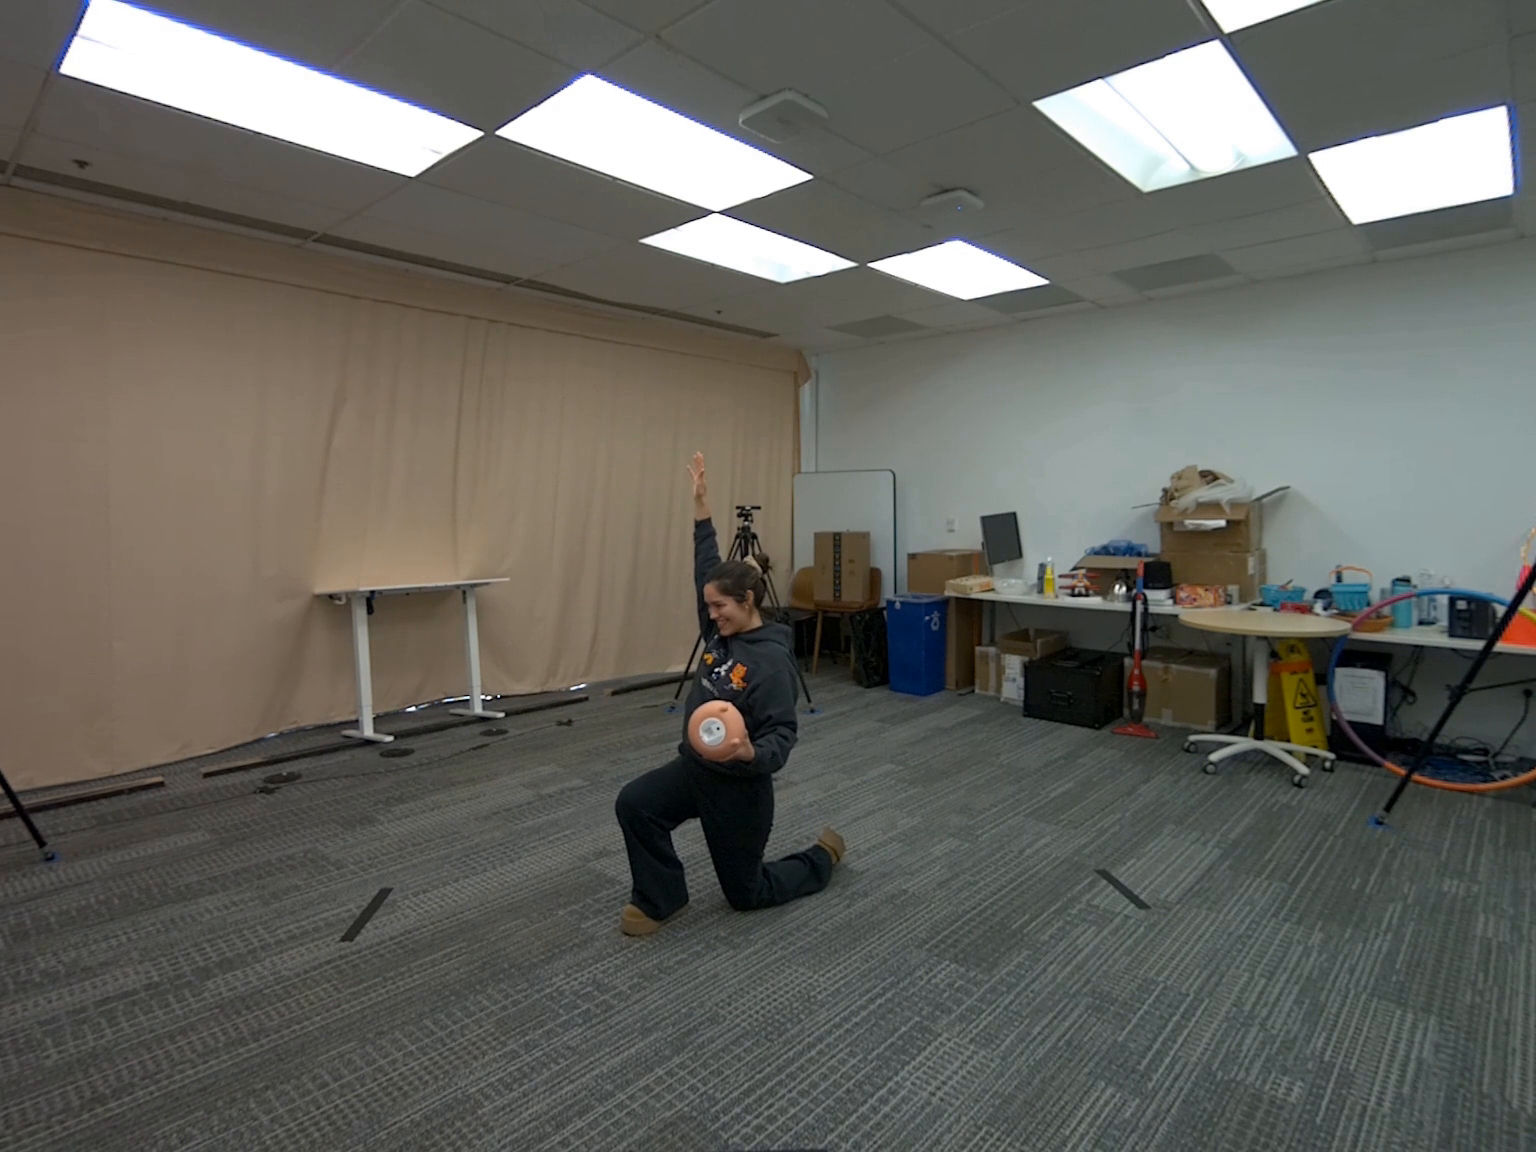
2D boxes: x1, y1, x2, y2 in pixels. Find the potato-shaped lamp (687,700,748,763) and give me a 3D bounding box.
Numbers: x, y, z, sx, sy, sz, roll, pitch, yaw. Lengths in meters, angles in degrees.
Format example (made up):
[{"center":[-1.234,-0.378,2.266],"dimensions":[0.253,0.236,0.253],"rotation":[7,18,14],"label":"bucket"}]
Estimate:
[{"center":[-0.129,0.451,2.497],"dimensions":[0.173,0.167,0.194],"rotation":[-27,-11,14],"label":"potato-shaped lamp"}]
